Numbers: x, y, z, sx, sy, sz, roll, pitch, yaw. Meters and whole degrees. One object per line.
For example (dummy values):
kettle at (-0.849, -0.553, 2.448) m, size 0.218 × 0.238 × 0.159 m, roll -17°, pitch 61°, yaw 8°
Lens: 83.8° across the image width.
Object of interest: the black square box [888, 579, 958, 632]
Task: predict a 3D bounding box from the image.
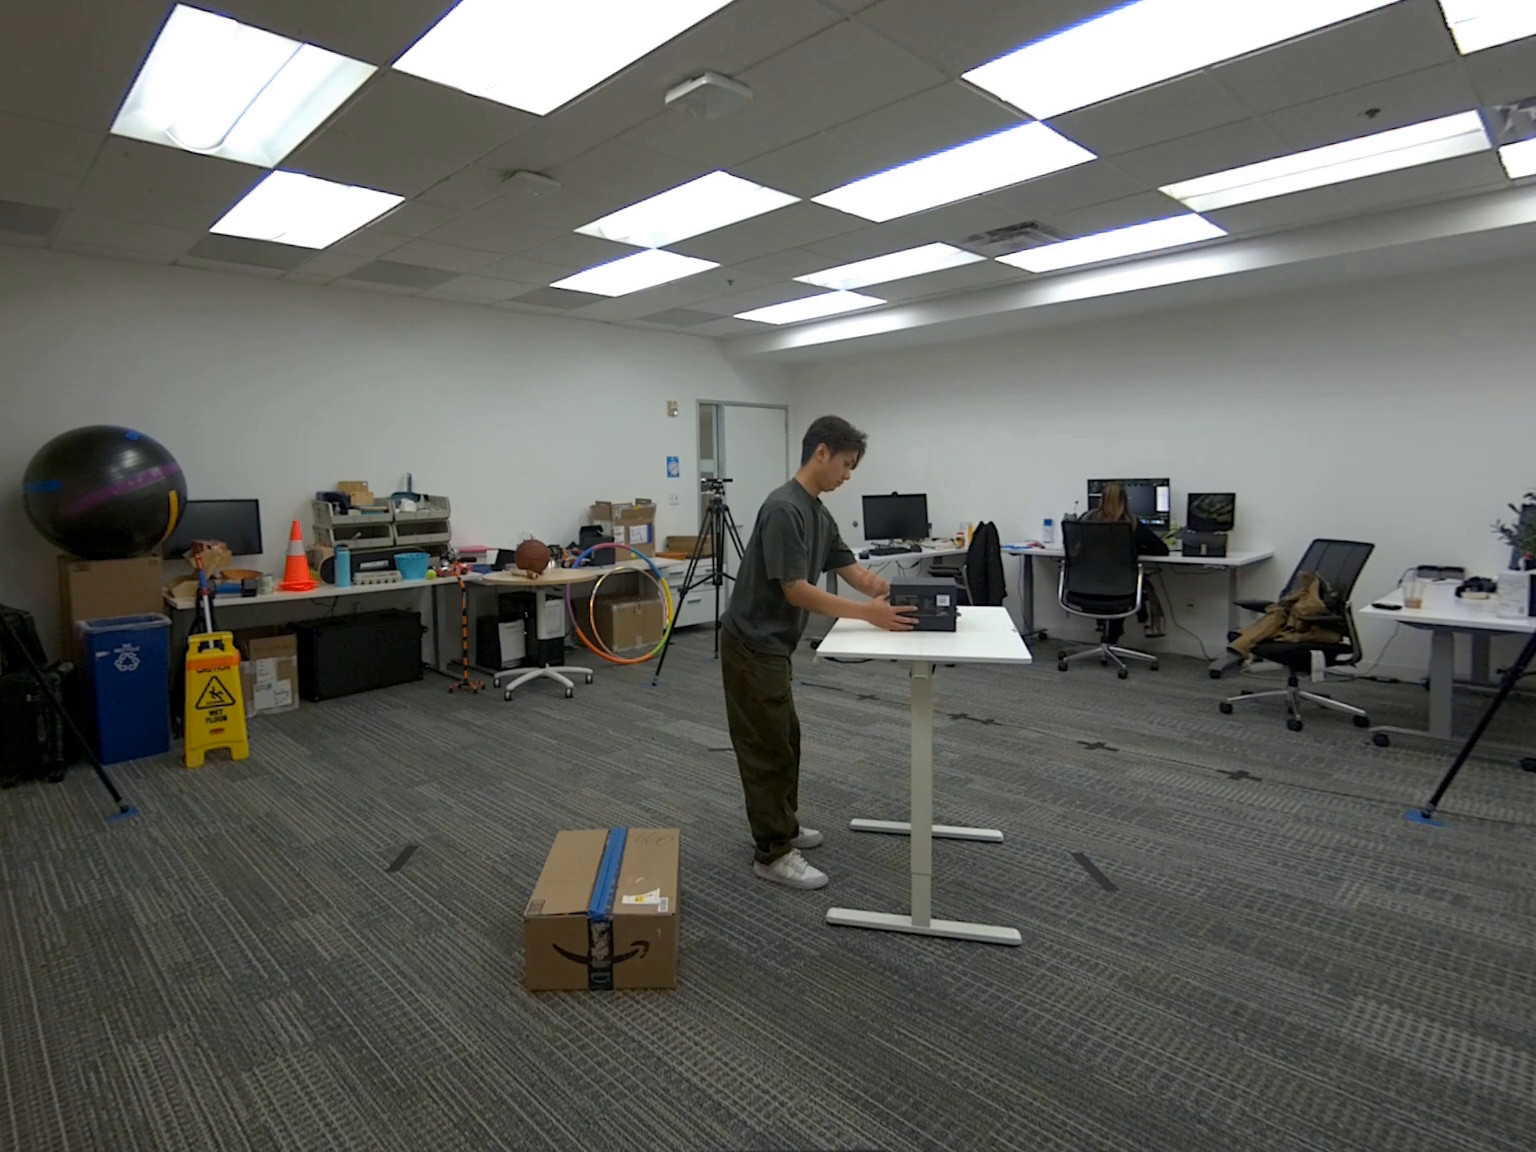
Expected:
black square box at (0.541, 0.093, 2.915) m, size 0.220 × 0.155 × 0.226 m, roll 0°, pitch 5°, yaw 13°
